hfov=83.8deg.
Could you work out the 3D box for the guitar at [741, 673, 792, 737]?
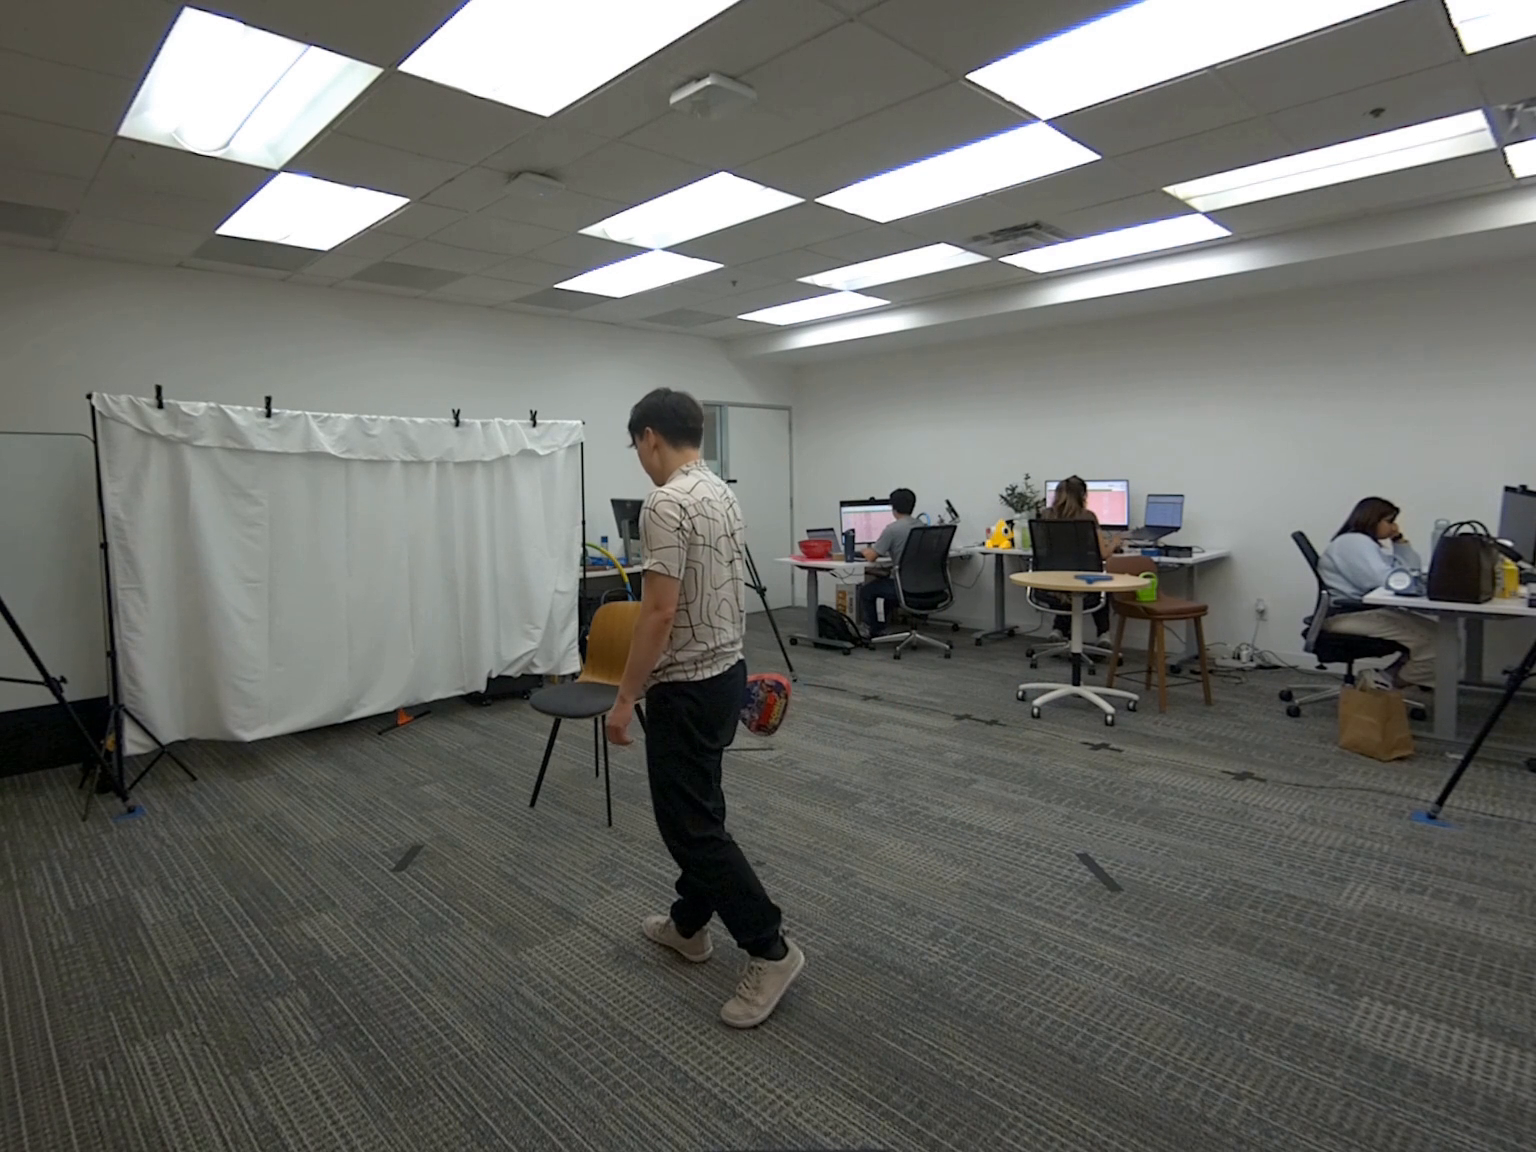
[{"bbox_3d":[-0.157,0.330,2.734,0.503,0.192,0.070,27,7,7],"label":"guitar"}]
